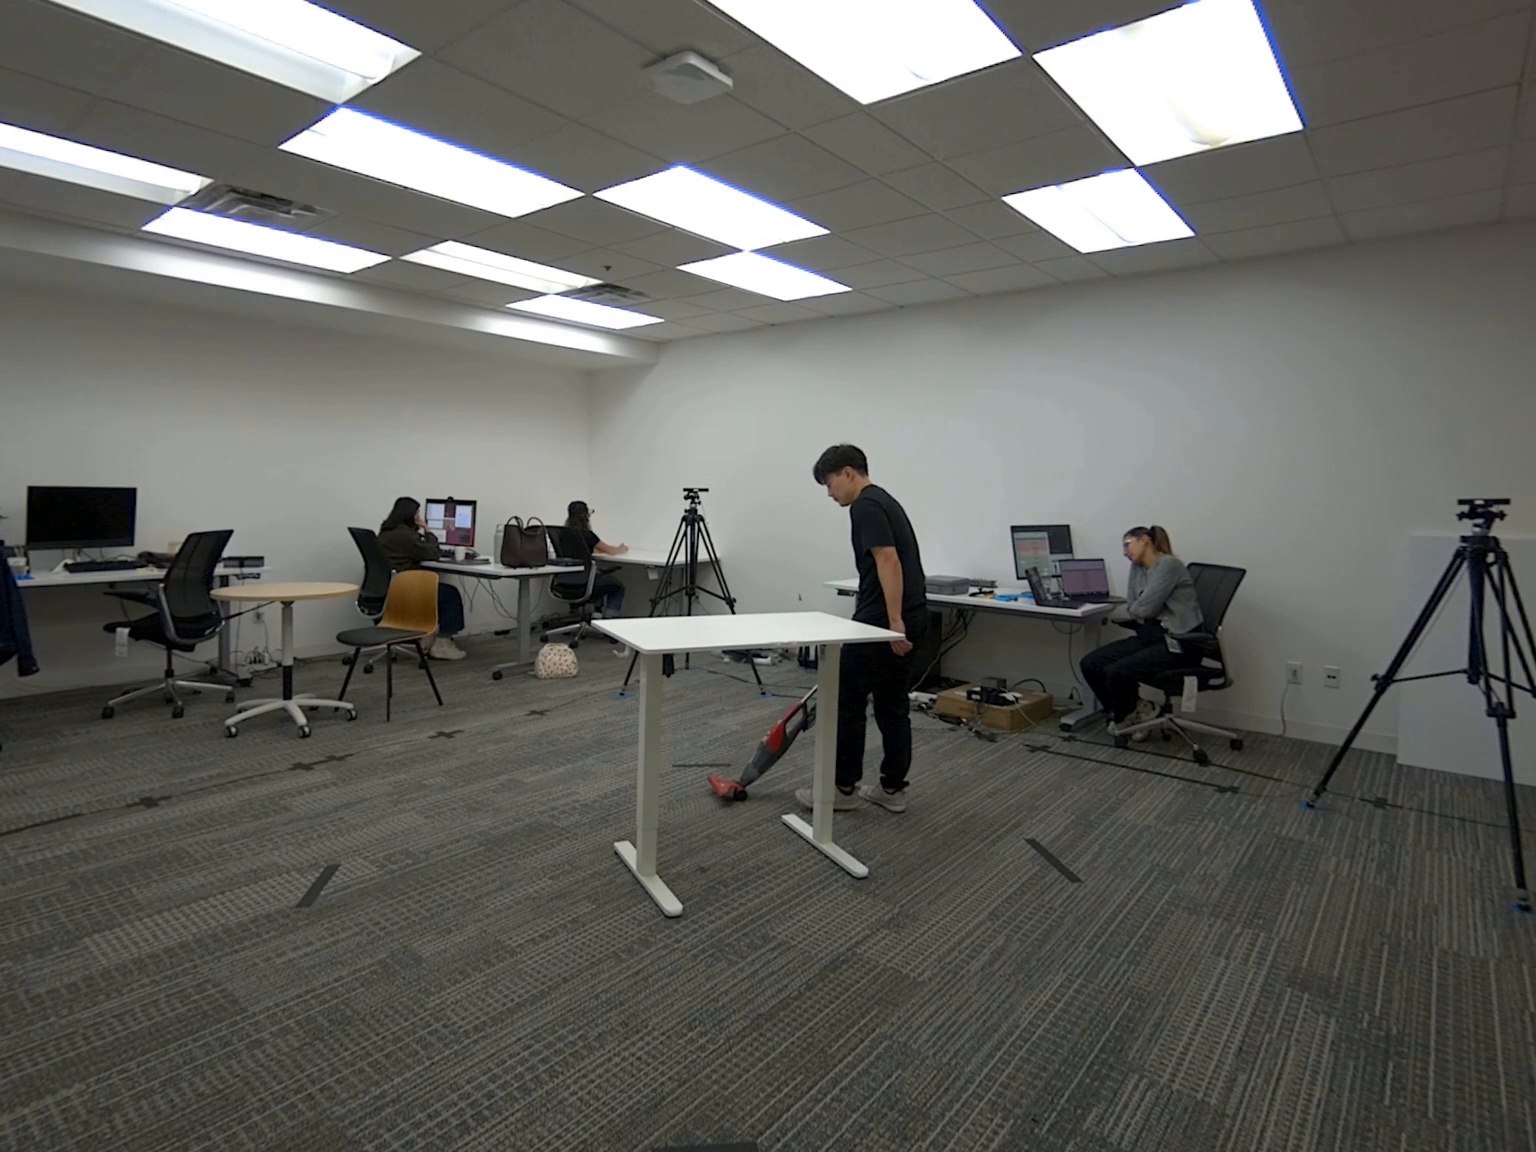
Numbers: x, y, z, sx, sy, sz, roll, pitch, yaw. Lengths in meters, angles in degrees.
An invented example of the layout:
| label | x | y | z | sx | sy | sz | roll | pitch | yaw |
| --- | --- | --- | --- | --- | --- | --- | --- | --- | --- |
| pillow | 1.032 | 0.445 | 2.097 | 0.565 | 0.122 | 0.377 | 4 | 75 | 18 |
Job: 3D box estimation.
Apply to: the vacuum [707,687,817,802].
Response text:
| label | x | y | z | sx | sy | sz | roll | pitch | yaw |
| --- | --- | --- | --- | --- | --- | --- | --- | --- | --- |
| vacuum | 0.155 | 0.616 | 3.945 | 1.048 | 0.141 | 0.258 | -44 | 17 | -10 |
